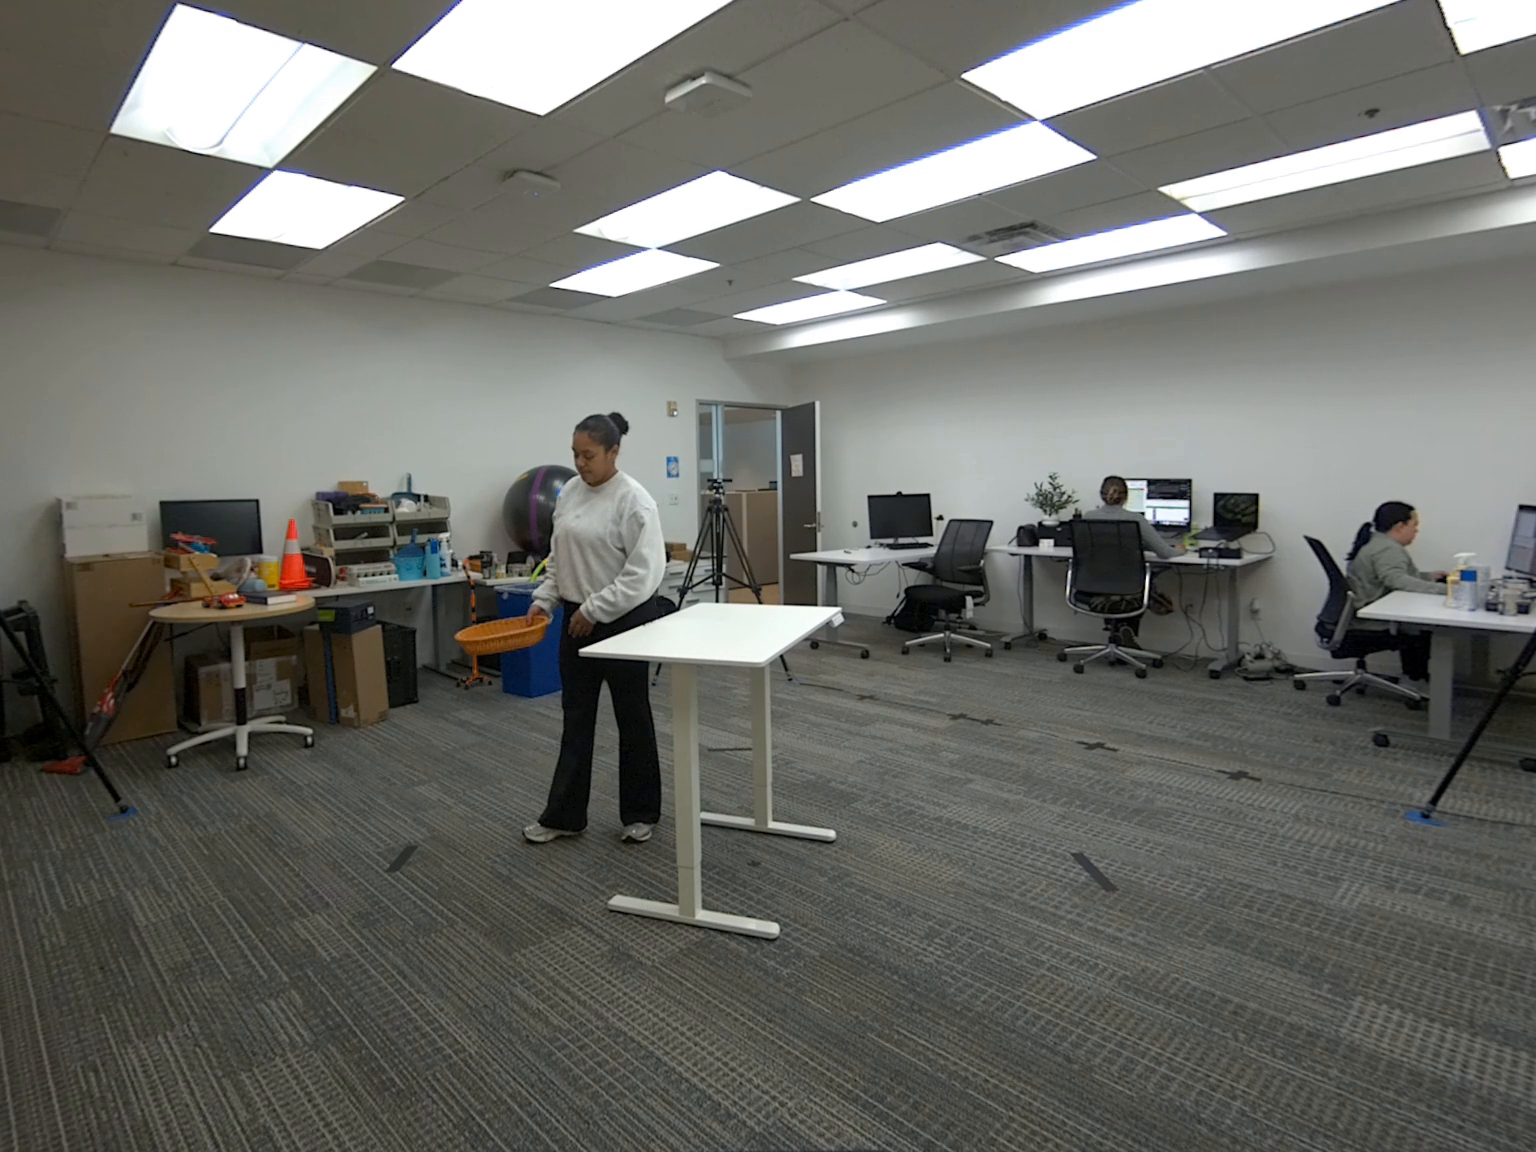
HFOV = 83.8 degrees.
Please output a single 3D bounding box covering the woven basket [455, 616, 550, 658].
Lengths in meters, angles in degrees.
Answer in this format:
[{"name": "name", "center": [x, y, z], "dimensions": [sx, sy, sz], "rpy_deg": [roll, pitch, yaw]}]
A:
[{"name": "woven basket", "center": [-0.988, 0.229, 3.175], "dimensions": [0.348, 0.072, 0.256], "rpy_deg": [-8, 12, -6]}]
